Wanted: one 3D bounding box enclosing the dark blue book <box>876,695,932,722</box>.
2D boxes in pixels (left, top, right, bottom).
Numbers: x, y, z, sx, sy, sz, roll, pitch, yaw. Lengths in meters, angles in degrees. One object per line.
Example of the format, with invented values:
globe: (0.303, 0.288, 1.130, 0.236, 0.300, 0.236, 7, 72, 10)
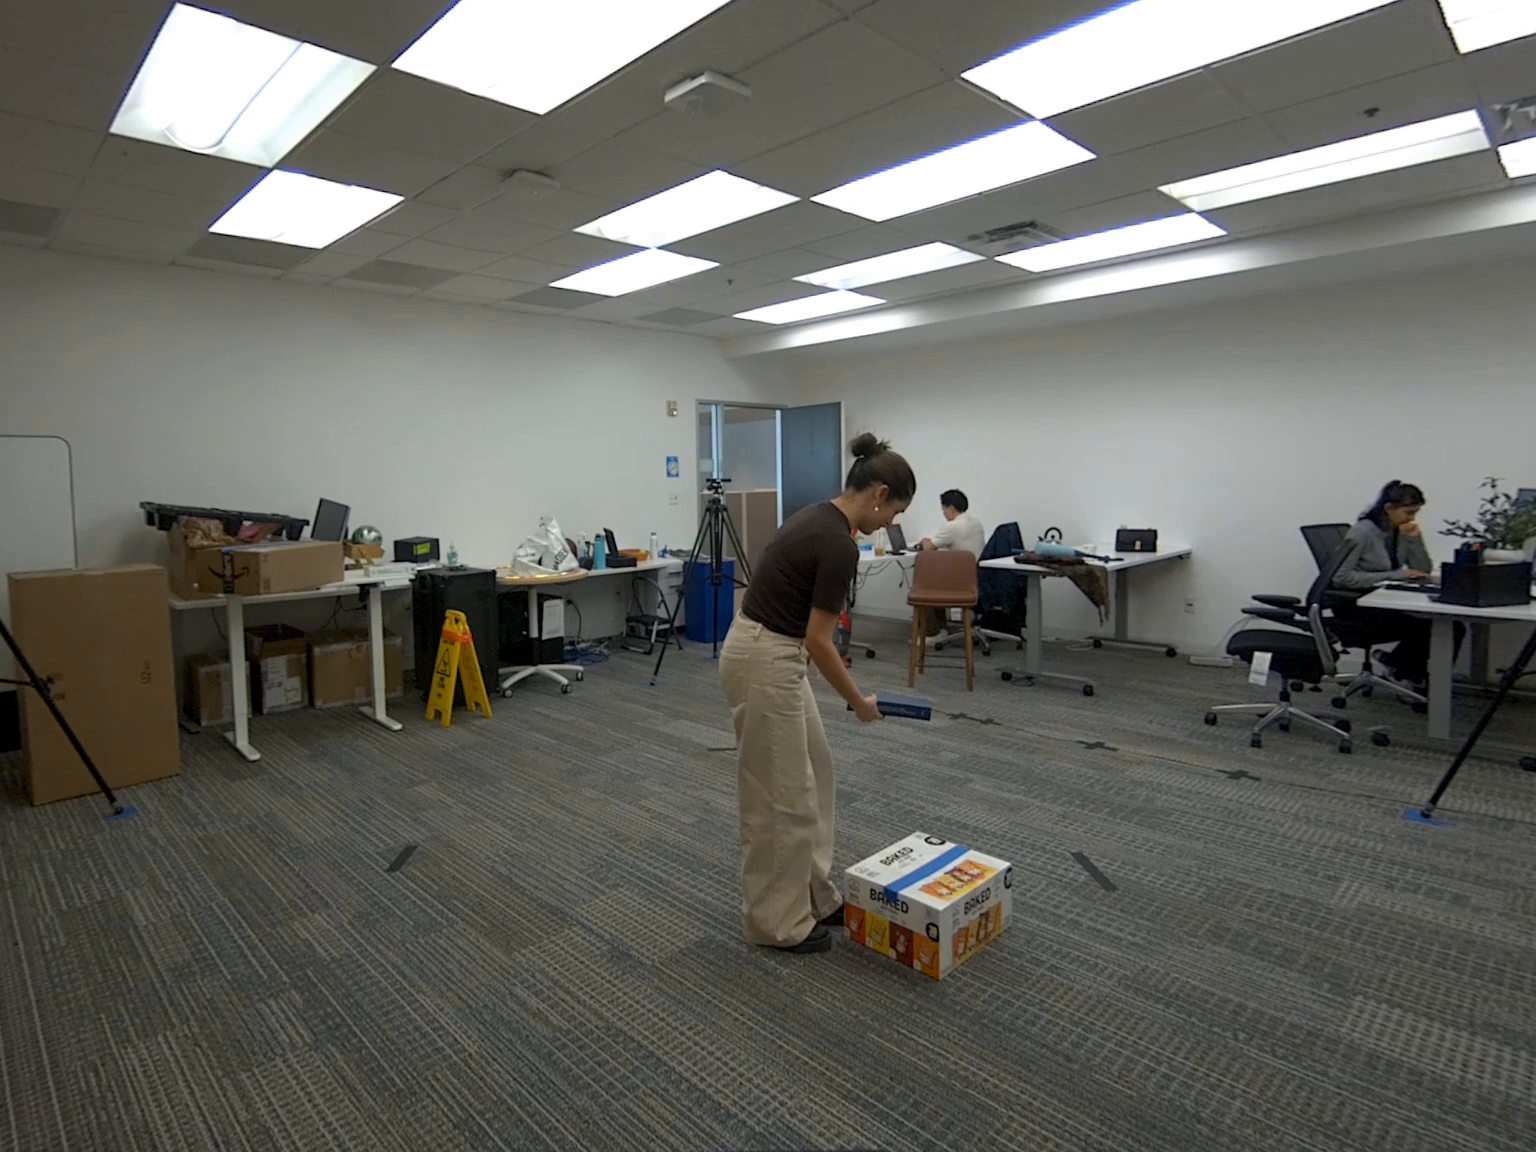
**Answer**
dark blue book: (0.371, 0.383, 2.606, 0.248, 0.045, 0.162, 6, 1, 9)
